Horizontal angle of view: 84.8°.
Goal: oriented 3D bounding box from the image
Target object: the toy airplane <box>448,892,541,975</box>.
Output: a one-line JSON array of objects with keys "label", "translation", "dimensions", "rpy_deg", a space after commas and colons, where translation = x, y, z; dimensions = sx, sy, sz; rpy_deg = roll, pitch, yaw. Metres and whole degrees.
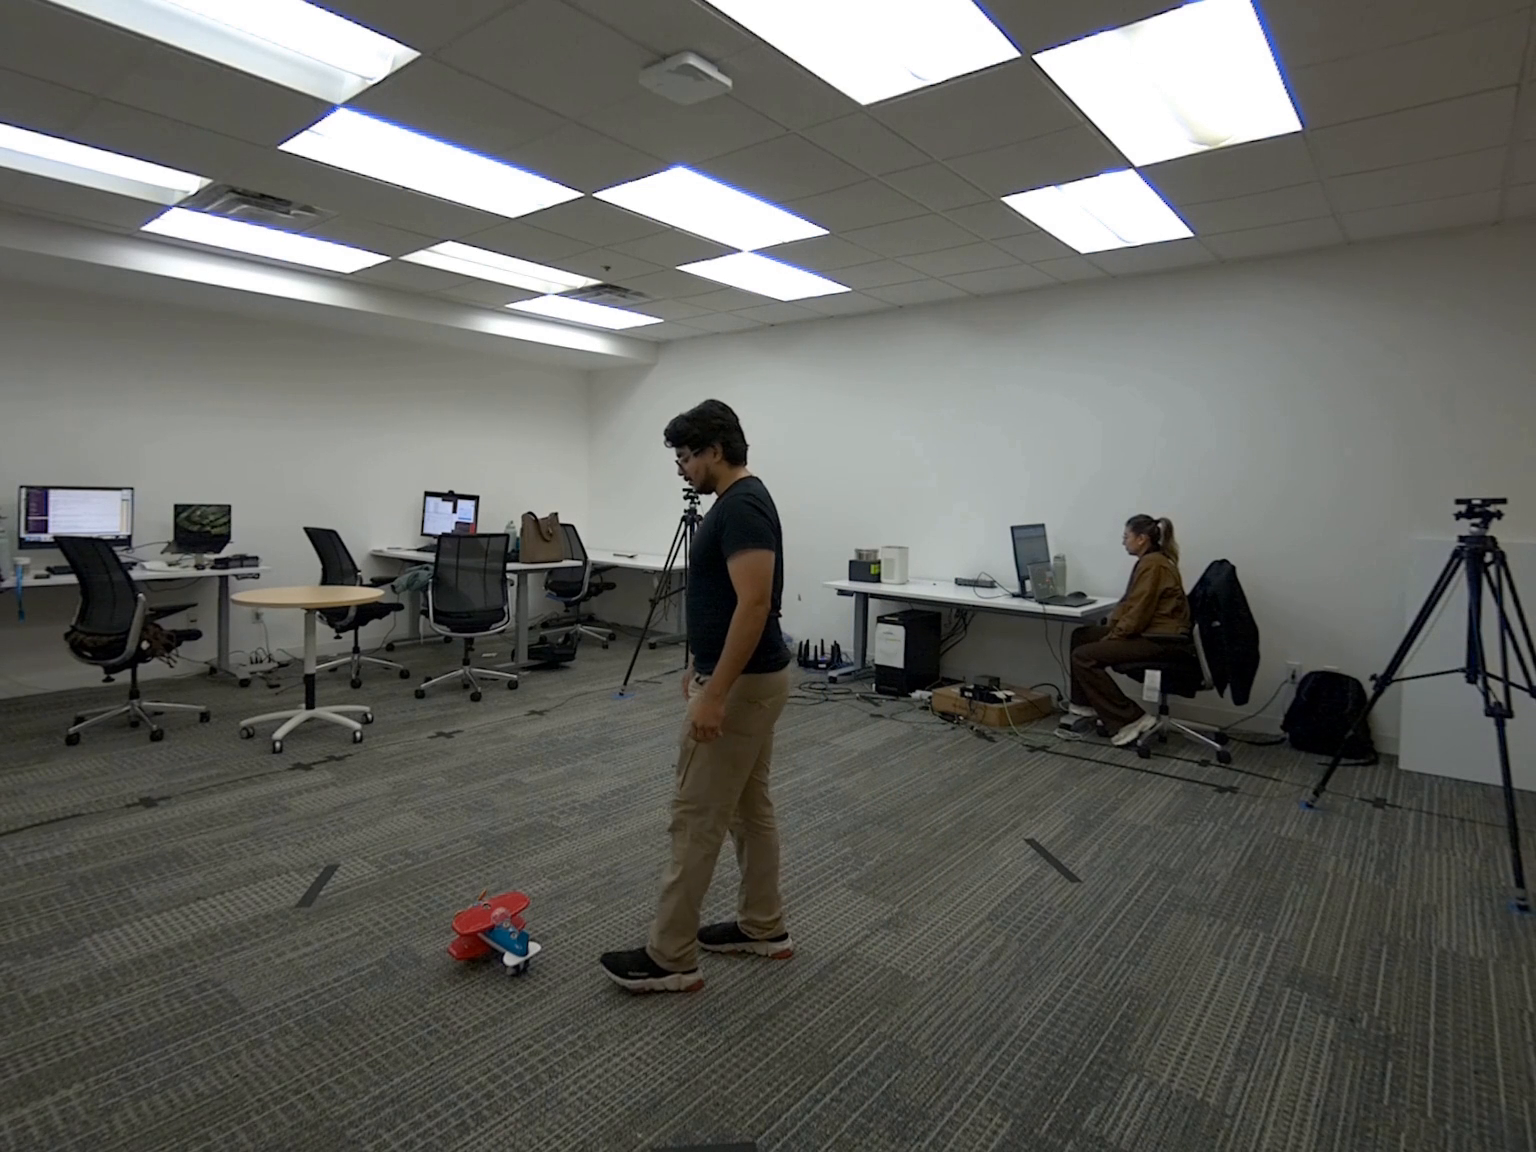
[{"label": "toy airplane", "translation": [-0.782, 1.043, 2.497], "dimensions": [0.260, 0.156, 0.251], "rpy_deg": [0, 5, 3]}]
